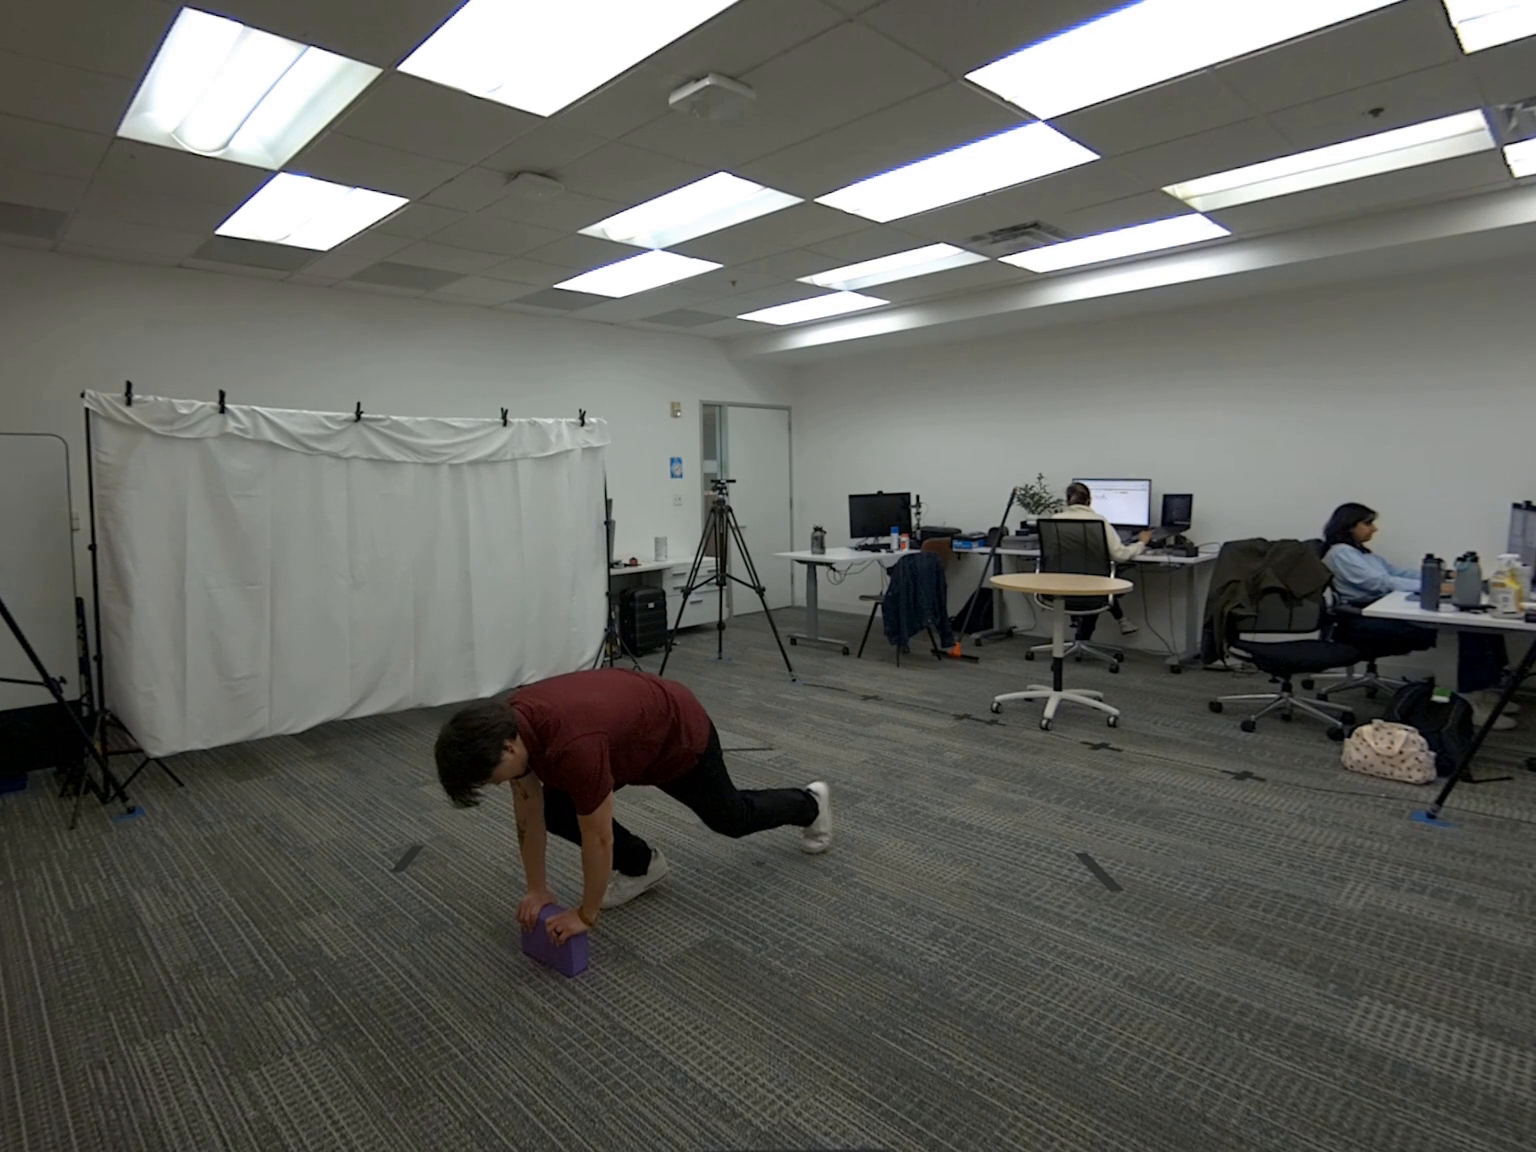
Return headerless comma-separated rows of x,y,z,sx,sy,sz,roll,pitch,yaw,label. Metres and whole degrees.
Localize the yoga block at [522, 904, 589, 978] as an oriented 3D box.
-0.623,1.061,2.505,0.236,0.148,0.074,4,9,38,yoga block
